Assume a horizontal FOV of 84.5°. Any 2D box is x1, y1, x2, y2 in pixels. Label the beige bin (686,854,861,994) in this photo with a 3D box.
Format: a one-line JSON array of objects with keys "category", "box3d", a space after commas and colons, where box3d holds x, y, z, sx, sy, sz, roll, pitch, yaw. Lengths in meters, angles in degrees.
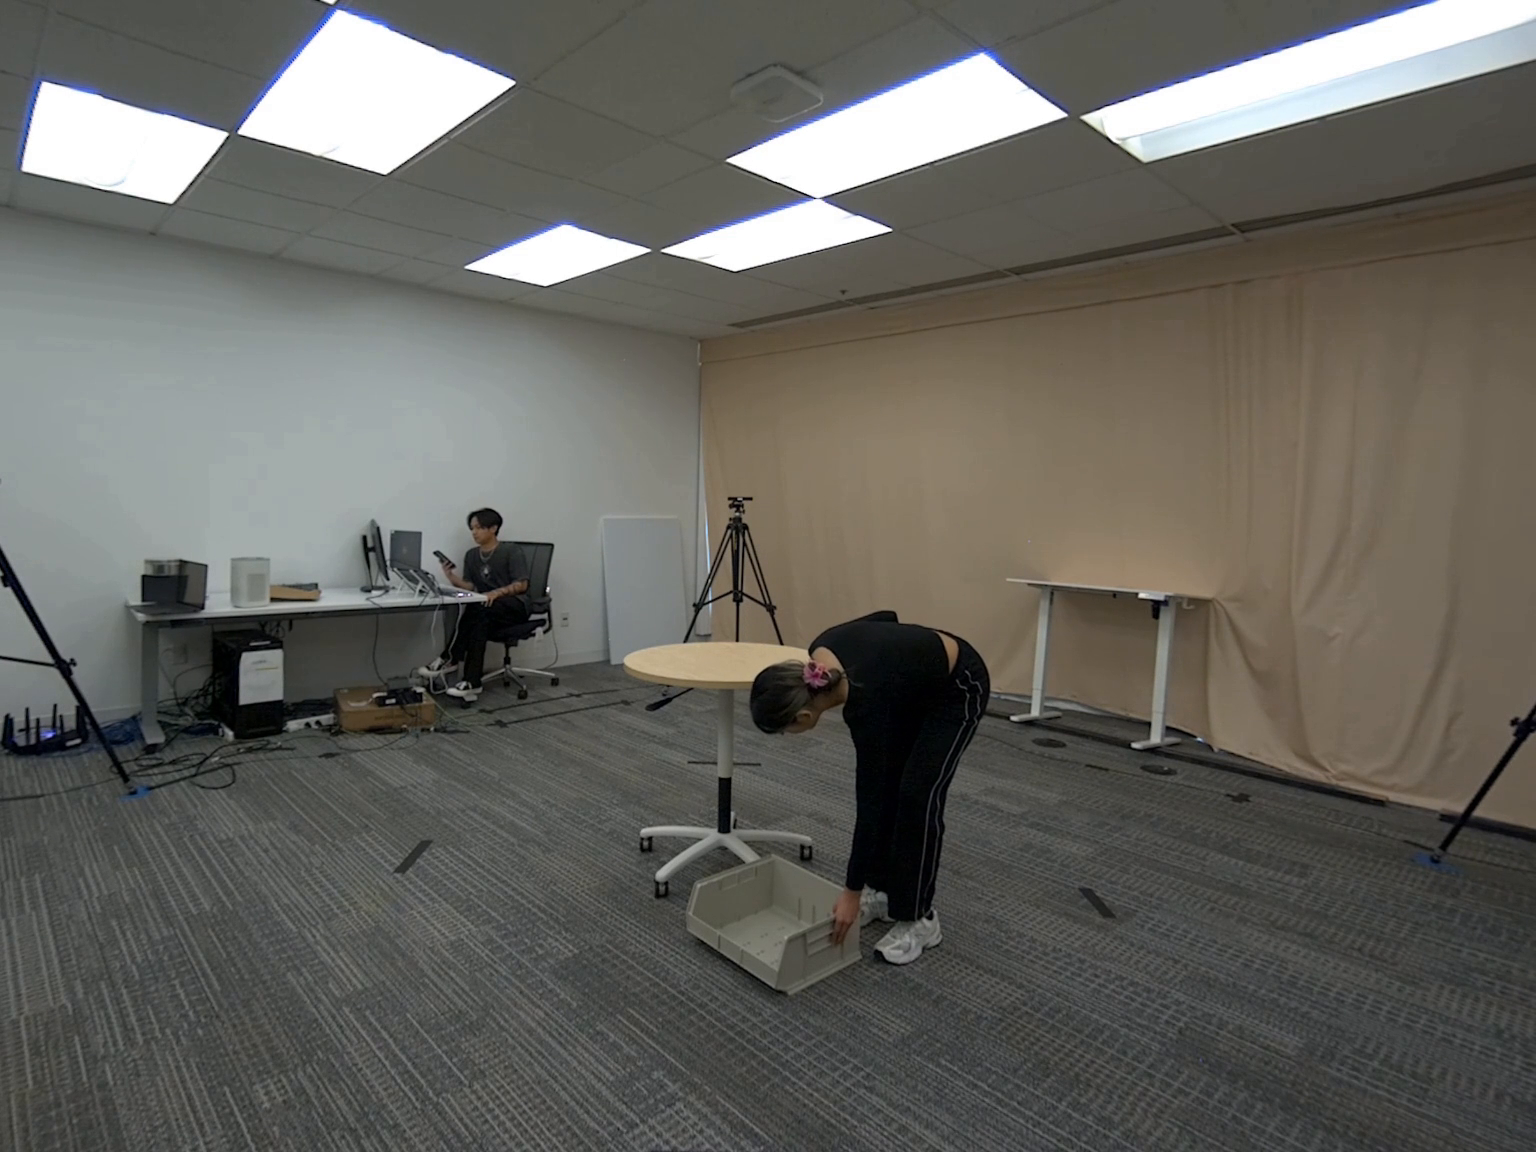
[{"category": "beige bin", "box3d": [0.017, 1.070, 2.597, 0.368, 0.188, 0.433, -2, 6, -42]}]
